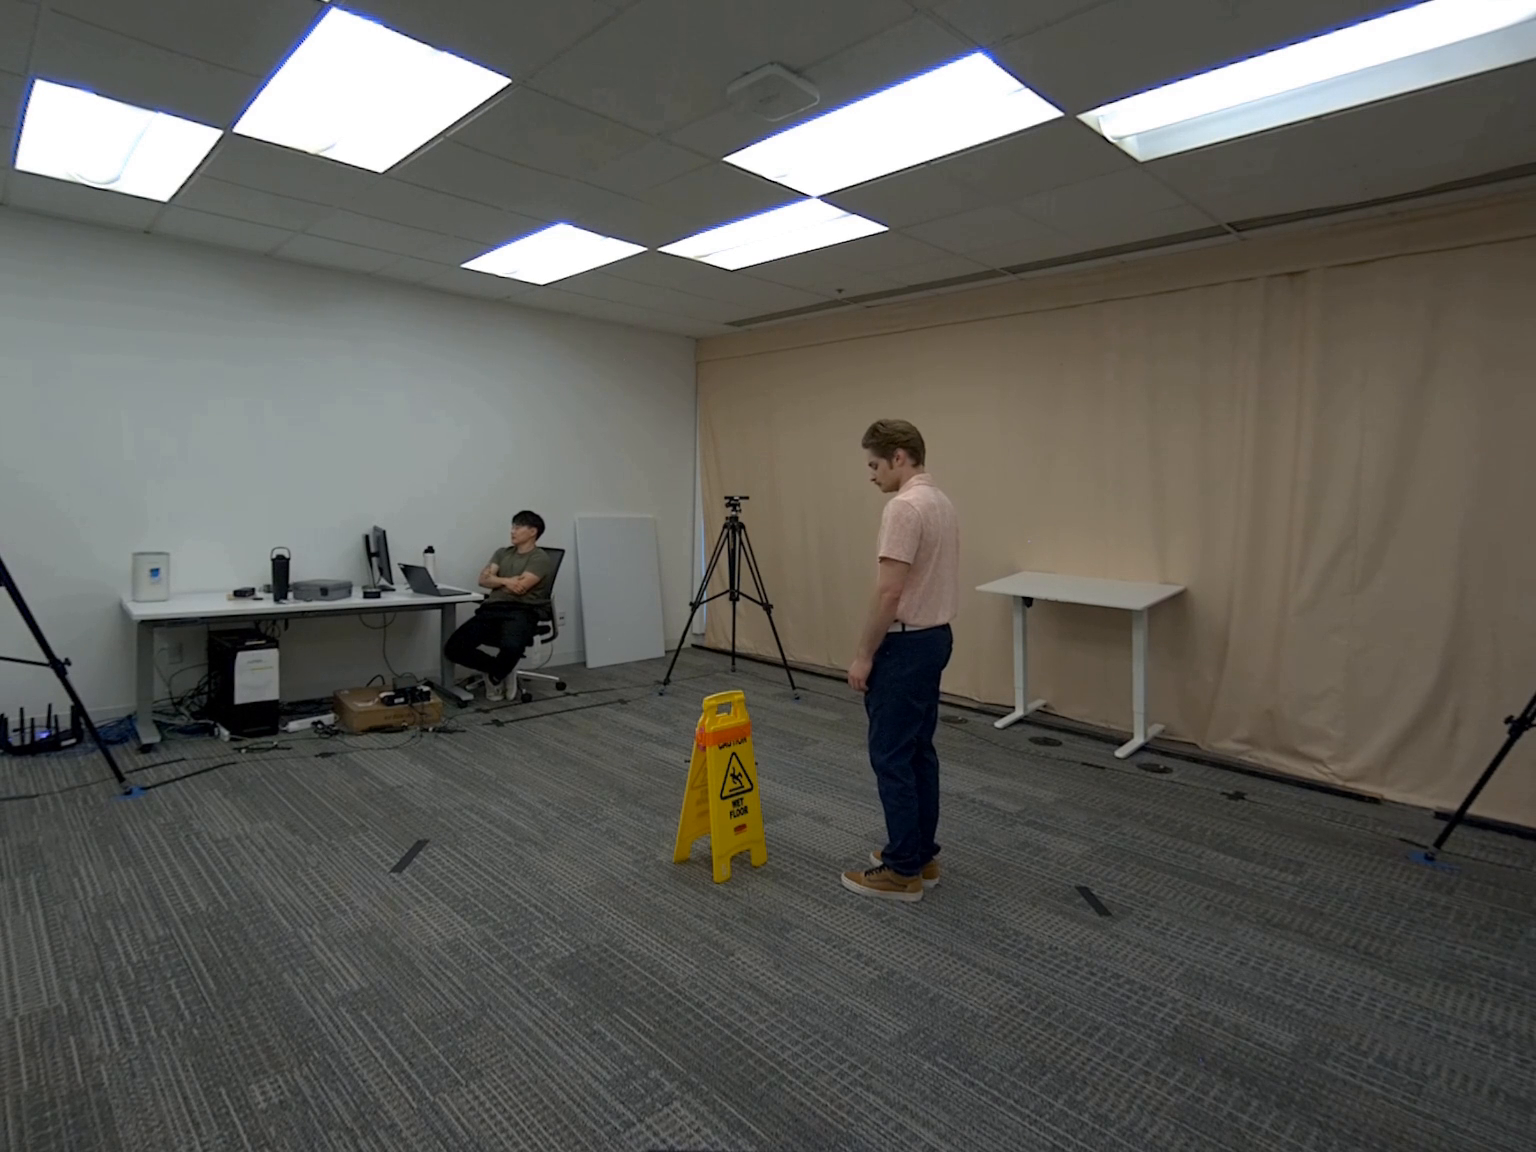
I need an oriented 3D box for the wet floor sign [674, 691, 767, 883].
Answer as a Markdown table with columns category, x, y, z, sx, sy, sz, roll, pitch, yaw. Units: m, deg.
| category | x | y | z | sx | sy | sz | roll | pitch | yaw |
| --- | --- | --- | --- | --- | --- | --- | --- | --- | --- |
| wet floor sign | -0.181 | 0.763 | 3.193 | 0.297 | 0.645 | 0.276 | 3 | 3 | 43 |
